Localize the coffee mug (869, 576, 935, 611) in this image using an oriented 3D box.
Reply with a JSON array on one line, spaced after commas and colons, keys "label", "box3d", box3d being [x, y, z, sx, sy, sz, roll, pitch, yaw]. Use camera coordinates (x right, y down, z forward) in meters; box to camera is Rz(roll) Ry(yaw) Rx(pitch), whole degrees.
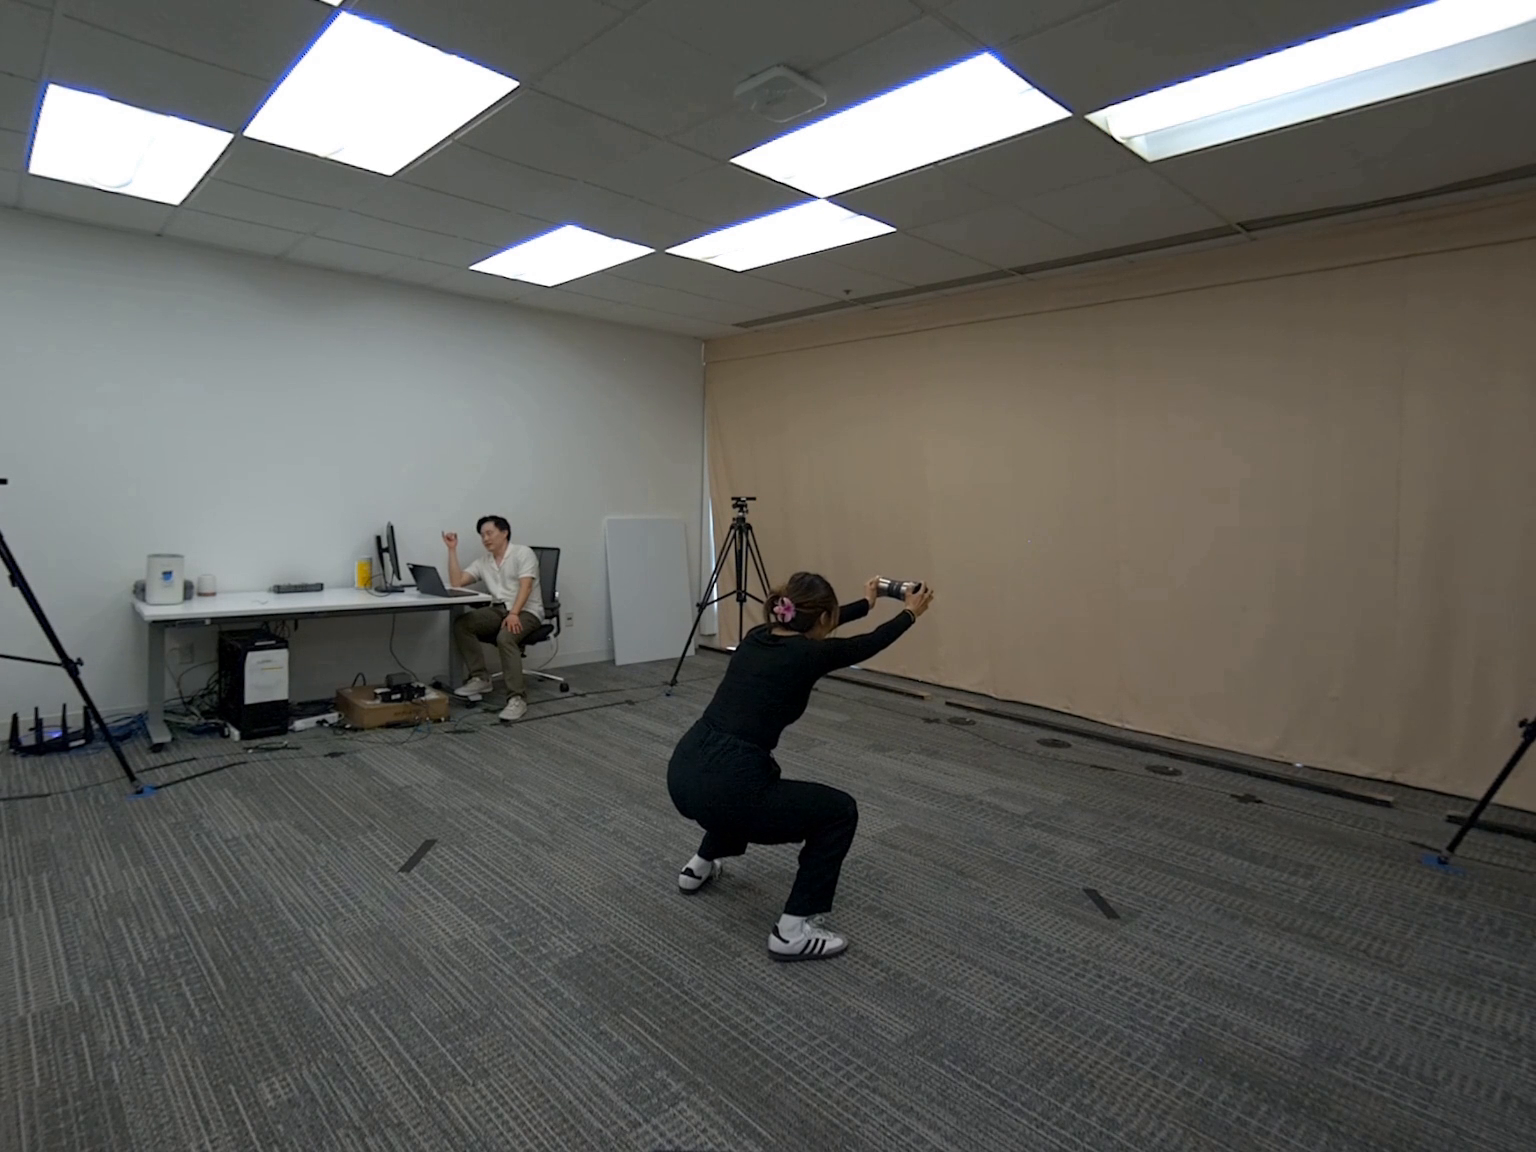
[{"label": "coffee mug", "box3d": [0.512, 0.064, 3.252, 0.119, 0.088, 0.208, 8, 4, -41]}]
